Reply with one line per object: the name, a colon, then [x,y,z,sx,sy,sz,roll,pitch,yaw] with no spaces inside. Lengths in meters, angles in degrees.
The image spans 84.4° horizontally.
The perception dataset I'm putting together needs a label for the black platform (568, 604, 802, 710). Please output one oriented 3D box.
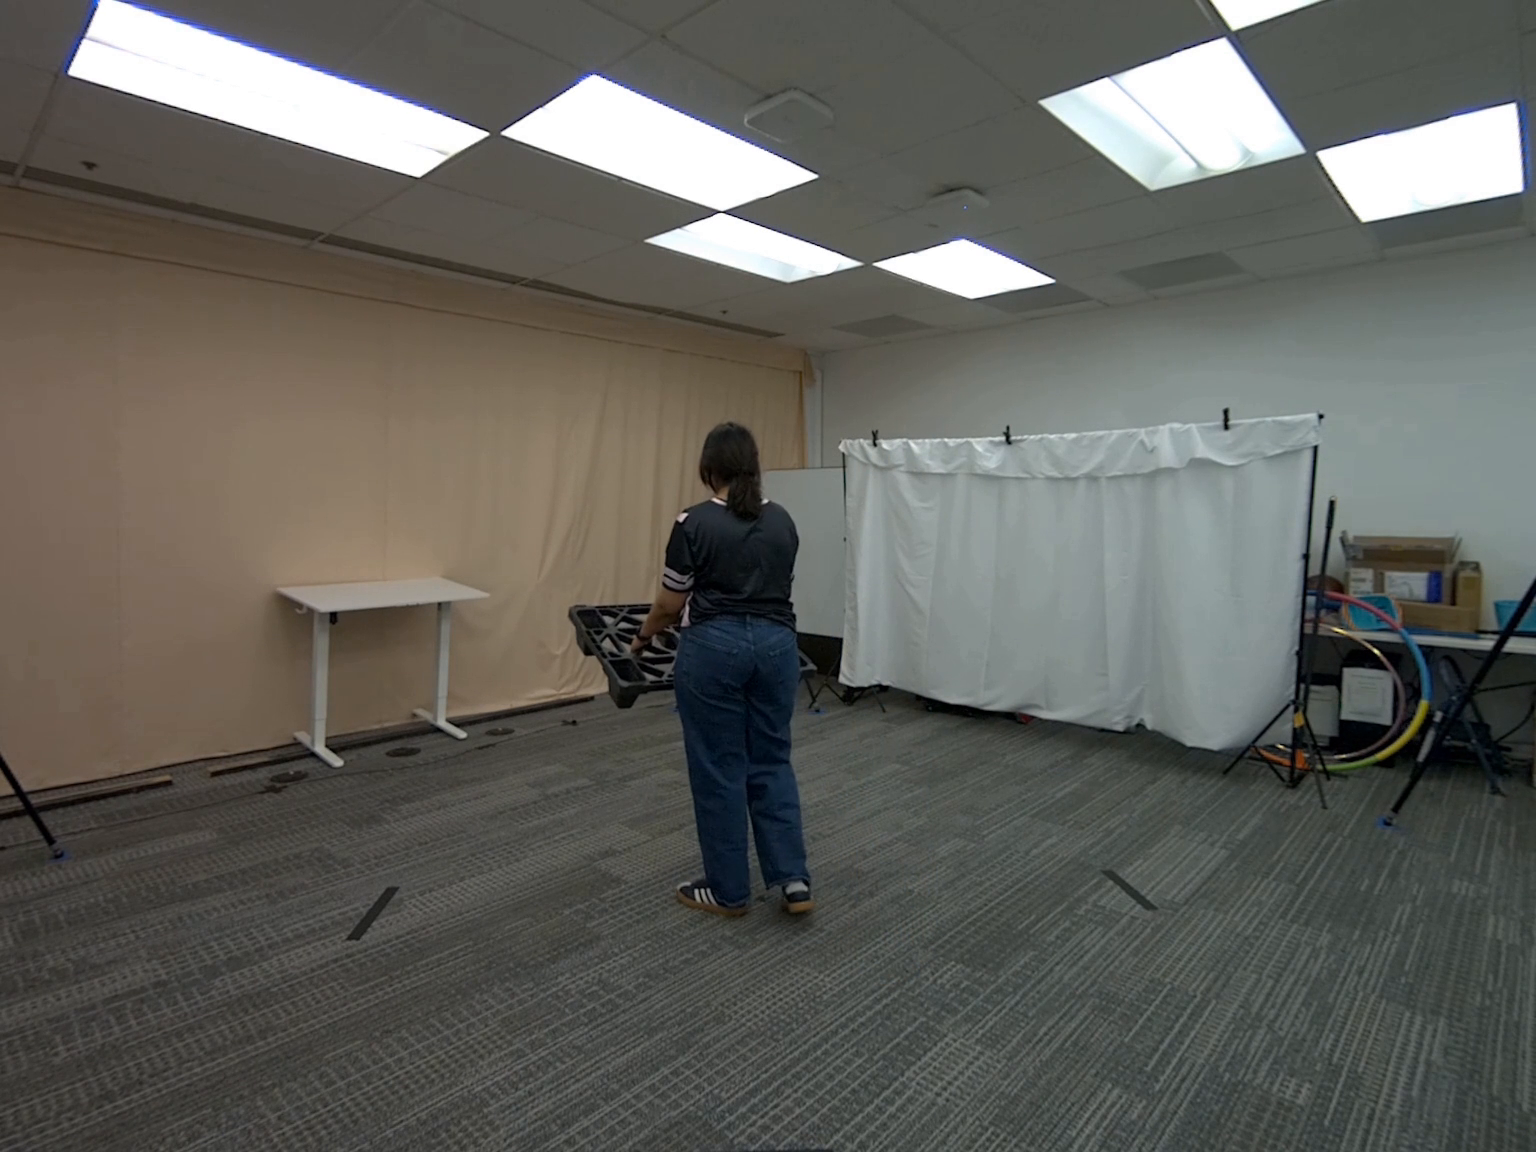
black platform: [-0.305,0.292,3.236,0.783,0.142,0.627,-1,24,-30]
